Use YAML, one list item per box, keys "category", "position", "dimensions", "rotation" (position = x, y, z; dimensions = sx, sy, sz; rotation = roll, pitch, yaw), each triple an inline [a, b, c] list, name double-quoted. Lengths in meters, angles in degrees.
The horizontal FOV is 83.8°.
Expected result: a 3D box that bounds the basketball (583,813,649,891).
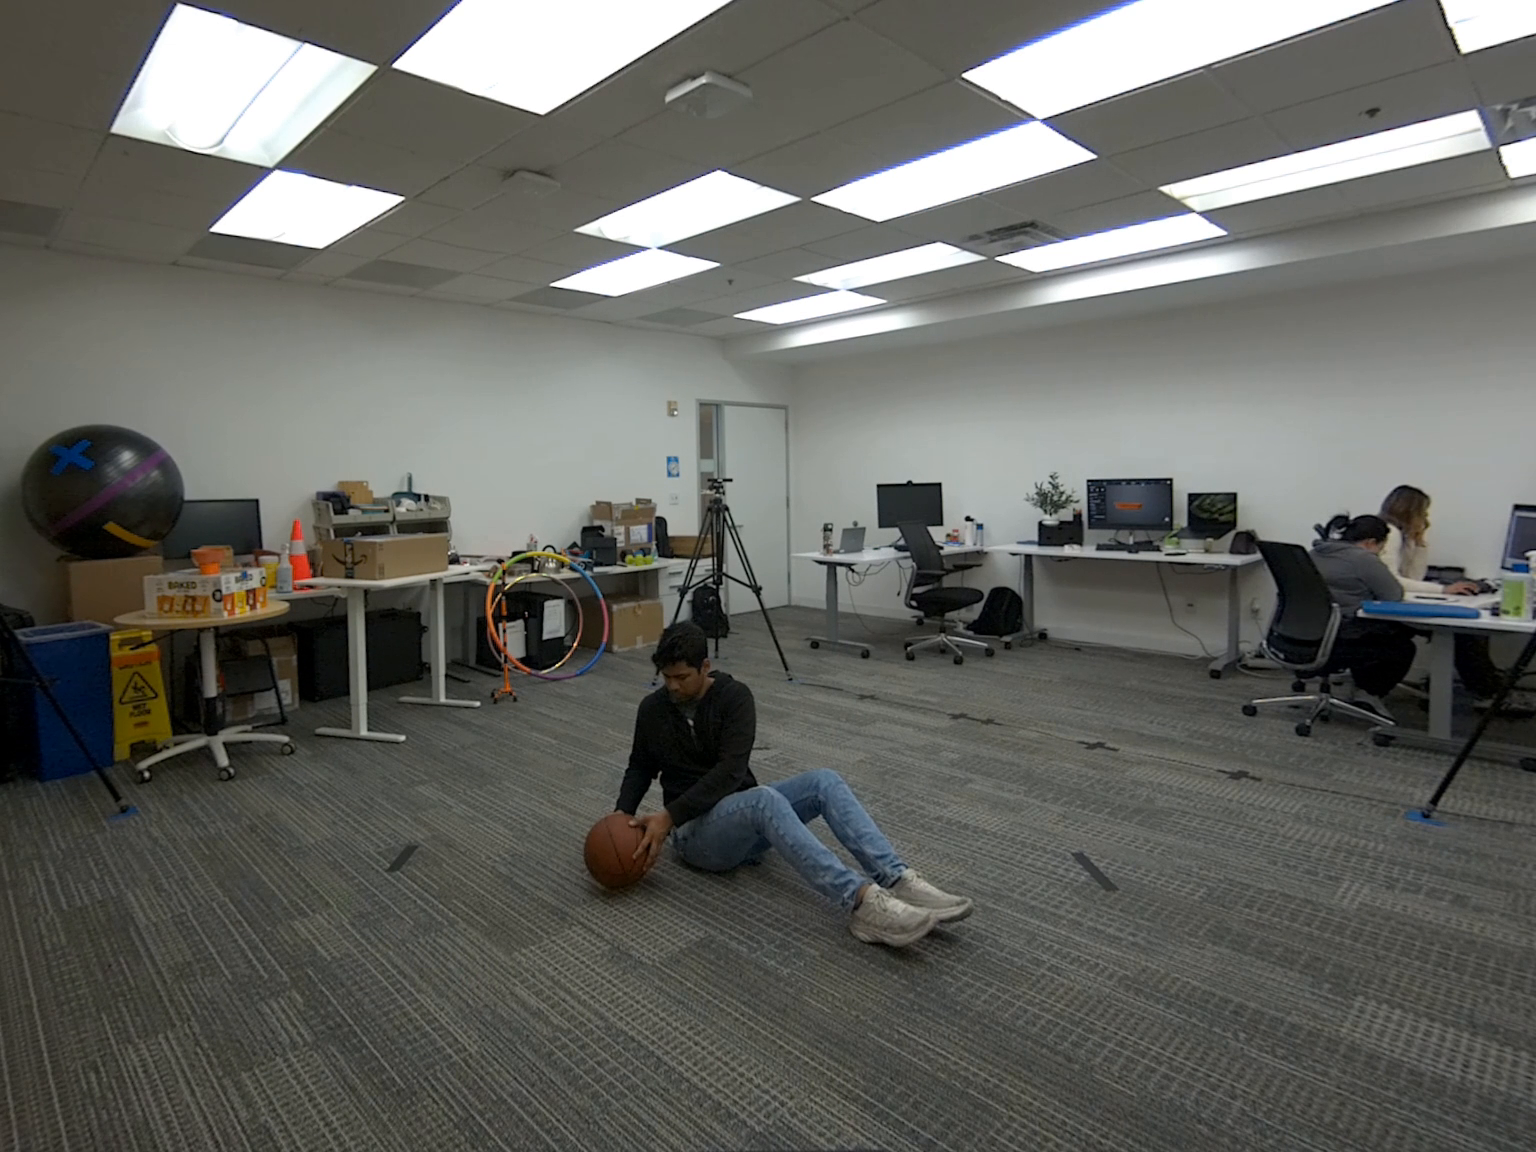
- category: "basketball"
  position: [-0.497, 0.926, 2.906]
  dimensions: [0.236, 0.235, 0.237]
  rotation: [-1, 5, -2]
